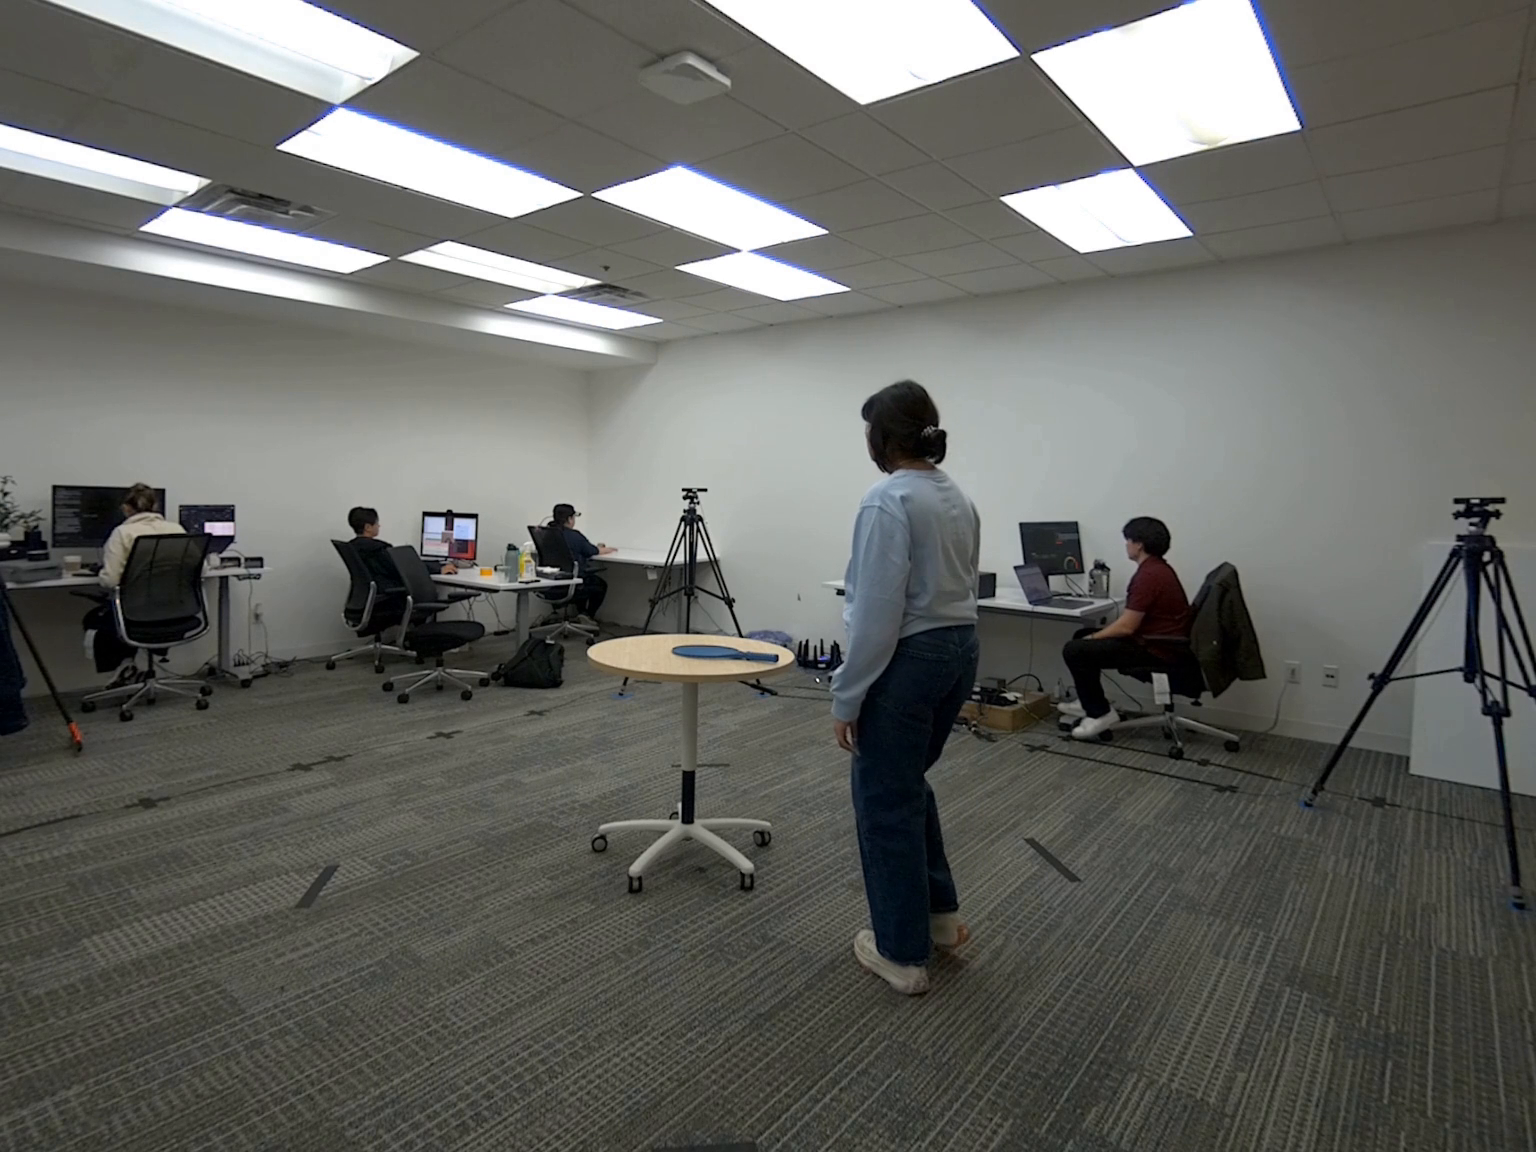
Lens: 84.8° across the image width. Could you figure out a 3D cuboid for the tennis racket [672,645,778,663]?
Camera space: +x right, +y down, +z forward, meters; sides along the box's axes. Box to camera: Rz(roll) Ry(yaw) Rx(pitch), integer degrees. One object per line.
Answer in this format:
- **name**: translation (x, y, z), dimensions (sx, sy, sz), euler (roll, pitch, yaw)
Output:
- **tennis racket**: translation (-0.171, 0.281, 3.093), dimensions (0.446, 0.031, 0.208), euler (3, 6, 32)
